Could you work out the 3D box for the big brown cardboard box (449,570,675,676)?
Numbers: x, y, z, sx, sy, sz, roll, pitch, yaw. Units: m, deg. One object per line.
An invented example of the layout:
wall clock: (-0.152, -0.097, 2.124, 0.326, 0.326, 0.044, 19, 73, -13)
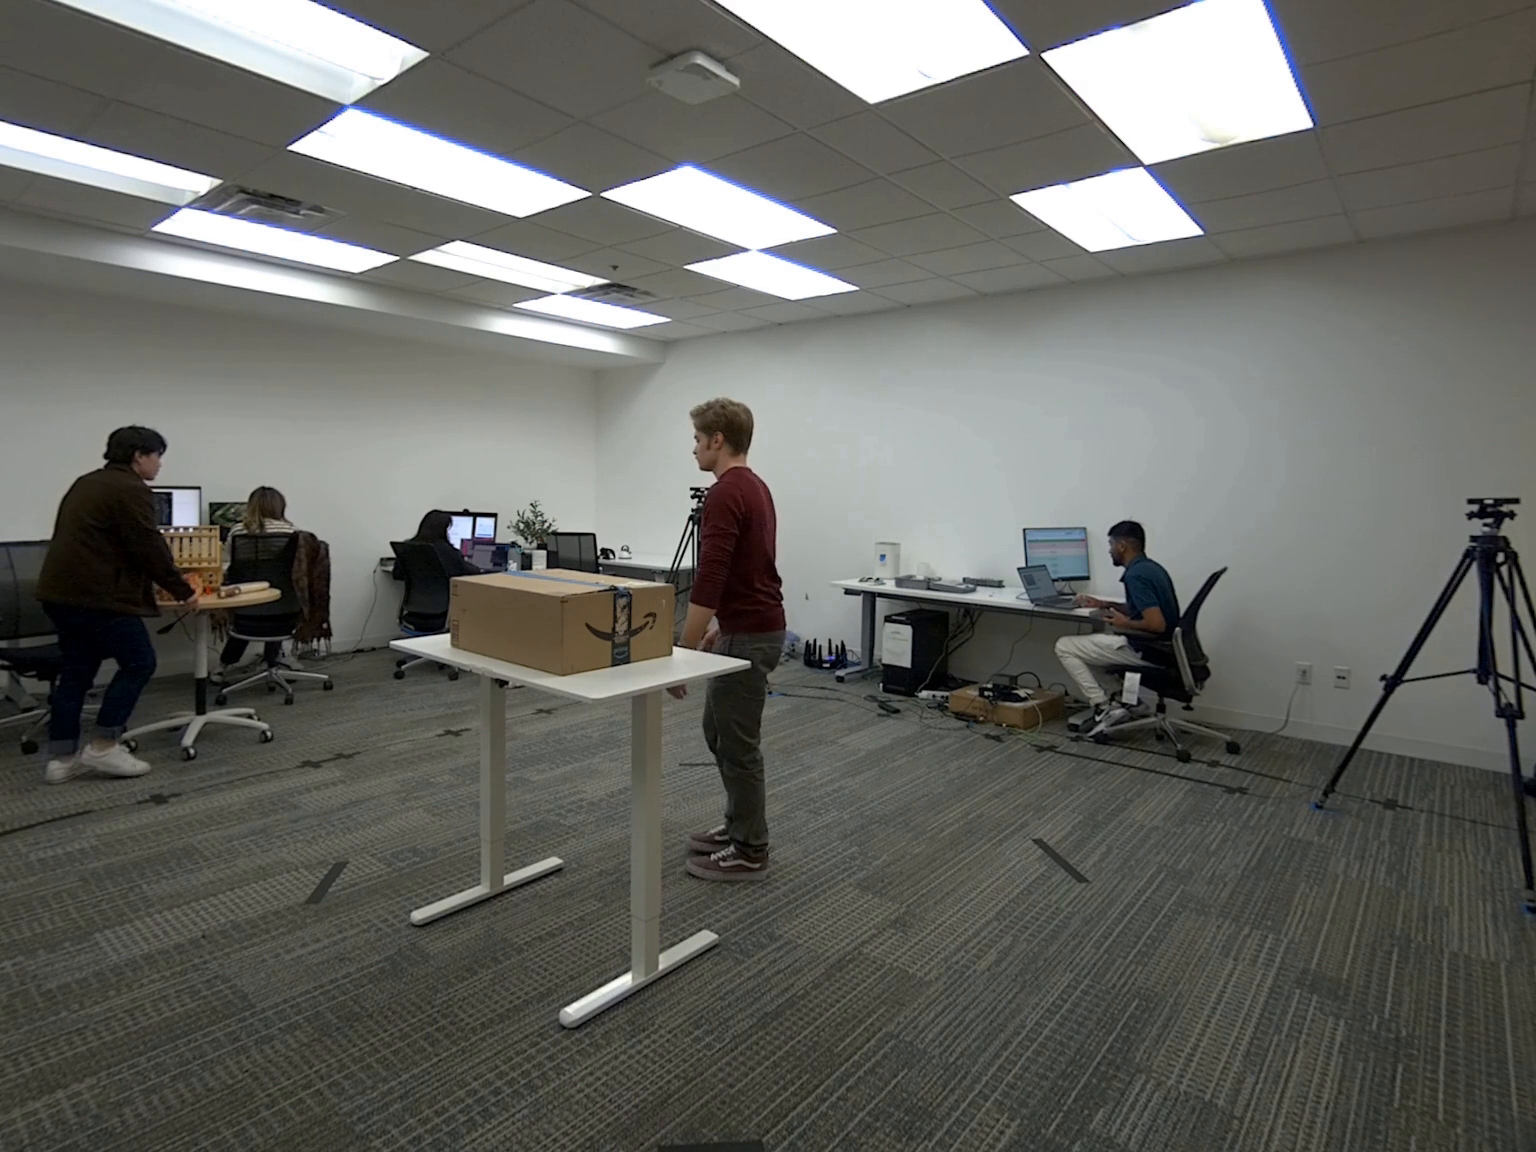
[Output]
big brown cardboard box: (-0.637, 0.119, 2.588, 0.609, 0.232, 0.405, 5, 7, 40)
